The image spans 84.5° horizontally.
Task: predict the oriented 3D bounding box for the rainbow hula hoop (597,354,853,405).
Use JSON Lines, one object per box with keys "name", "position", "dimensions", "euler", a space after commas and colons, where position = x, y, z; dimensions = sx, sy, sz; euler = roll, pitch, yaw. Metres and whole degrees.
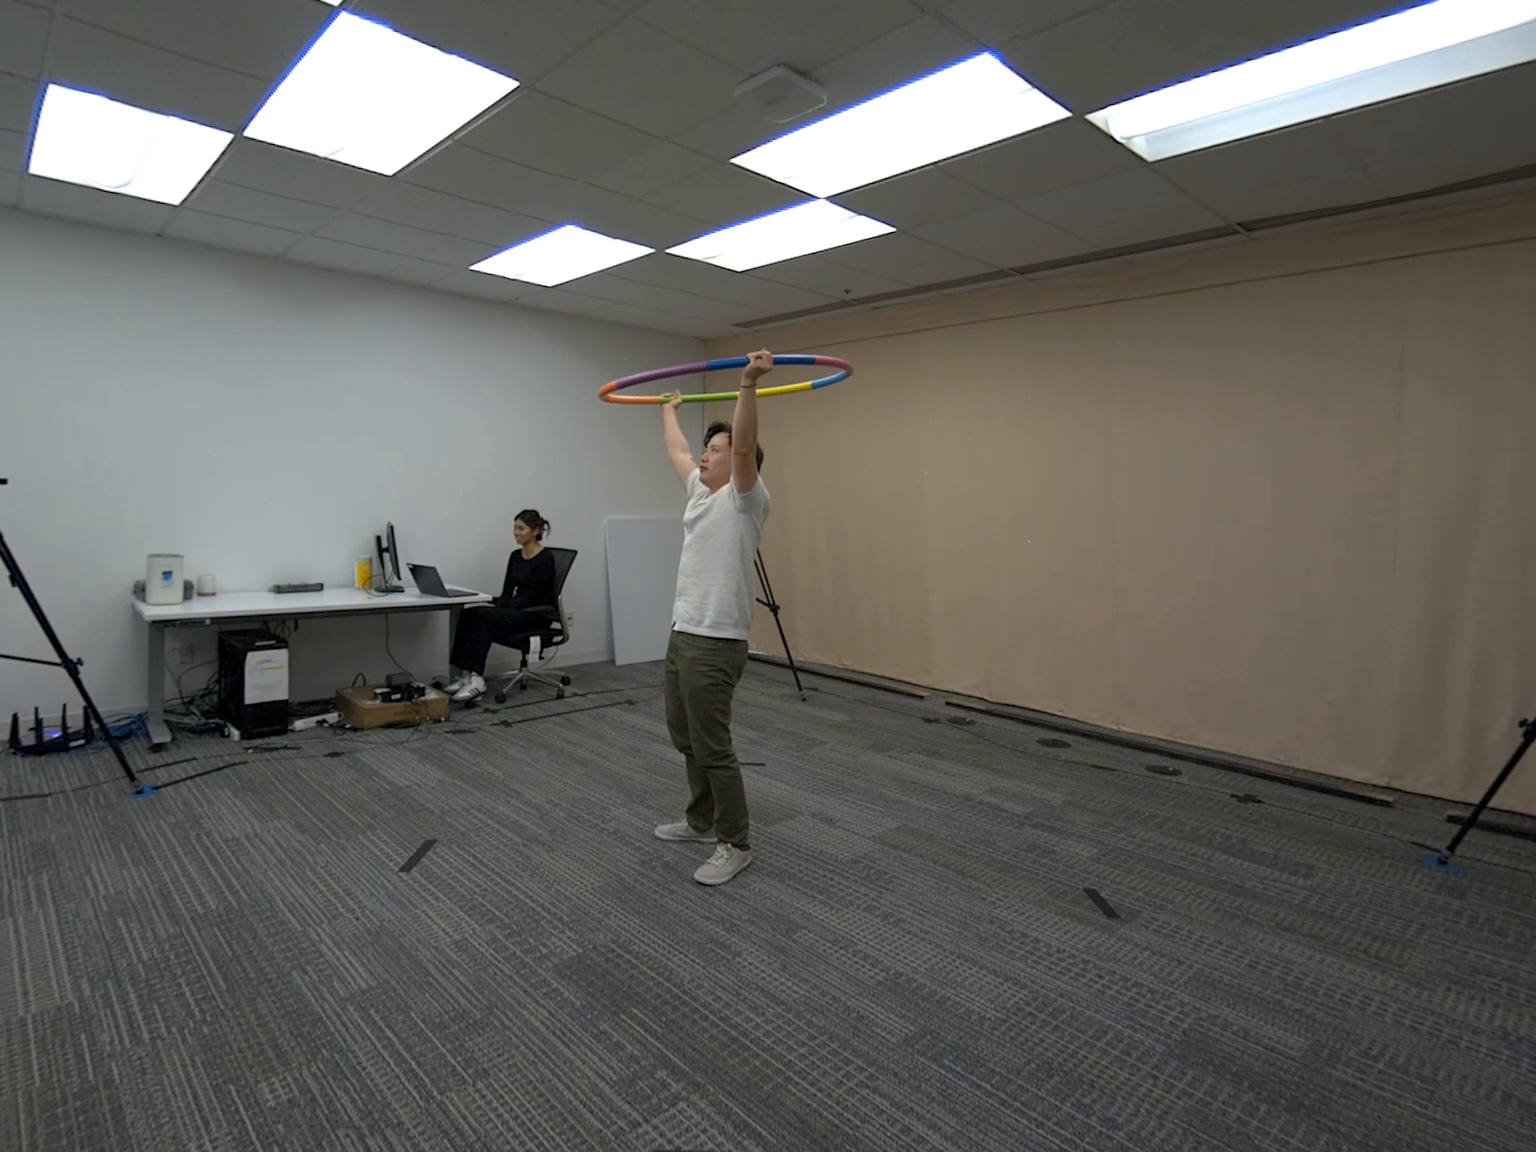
{"name": "rainbow hula hoop", "position": [-0.155, -0.738, 3.246], "dimensions": [0.978, 0.035, 0.982], "euler": [-6, 6, -1]}
